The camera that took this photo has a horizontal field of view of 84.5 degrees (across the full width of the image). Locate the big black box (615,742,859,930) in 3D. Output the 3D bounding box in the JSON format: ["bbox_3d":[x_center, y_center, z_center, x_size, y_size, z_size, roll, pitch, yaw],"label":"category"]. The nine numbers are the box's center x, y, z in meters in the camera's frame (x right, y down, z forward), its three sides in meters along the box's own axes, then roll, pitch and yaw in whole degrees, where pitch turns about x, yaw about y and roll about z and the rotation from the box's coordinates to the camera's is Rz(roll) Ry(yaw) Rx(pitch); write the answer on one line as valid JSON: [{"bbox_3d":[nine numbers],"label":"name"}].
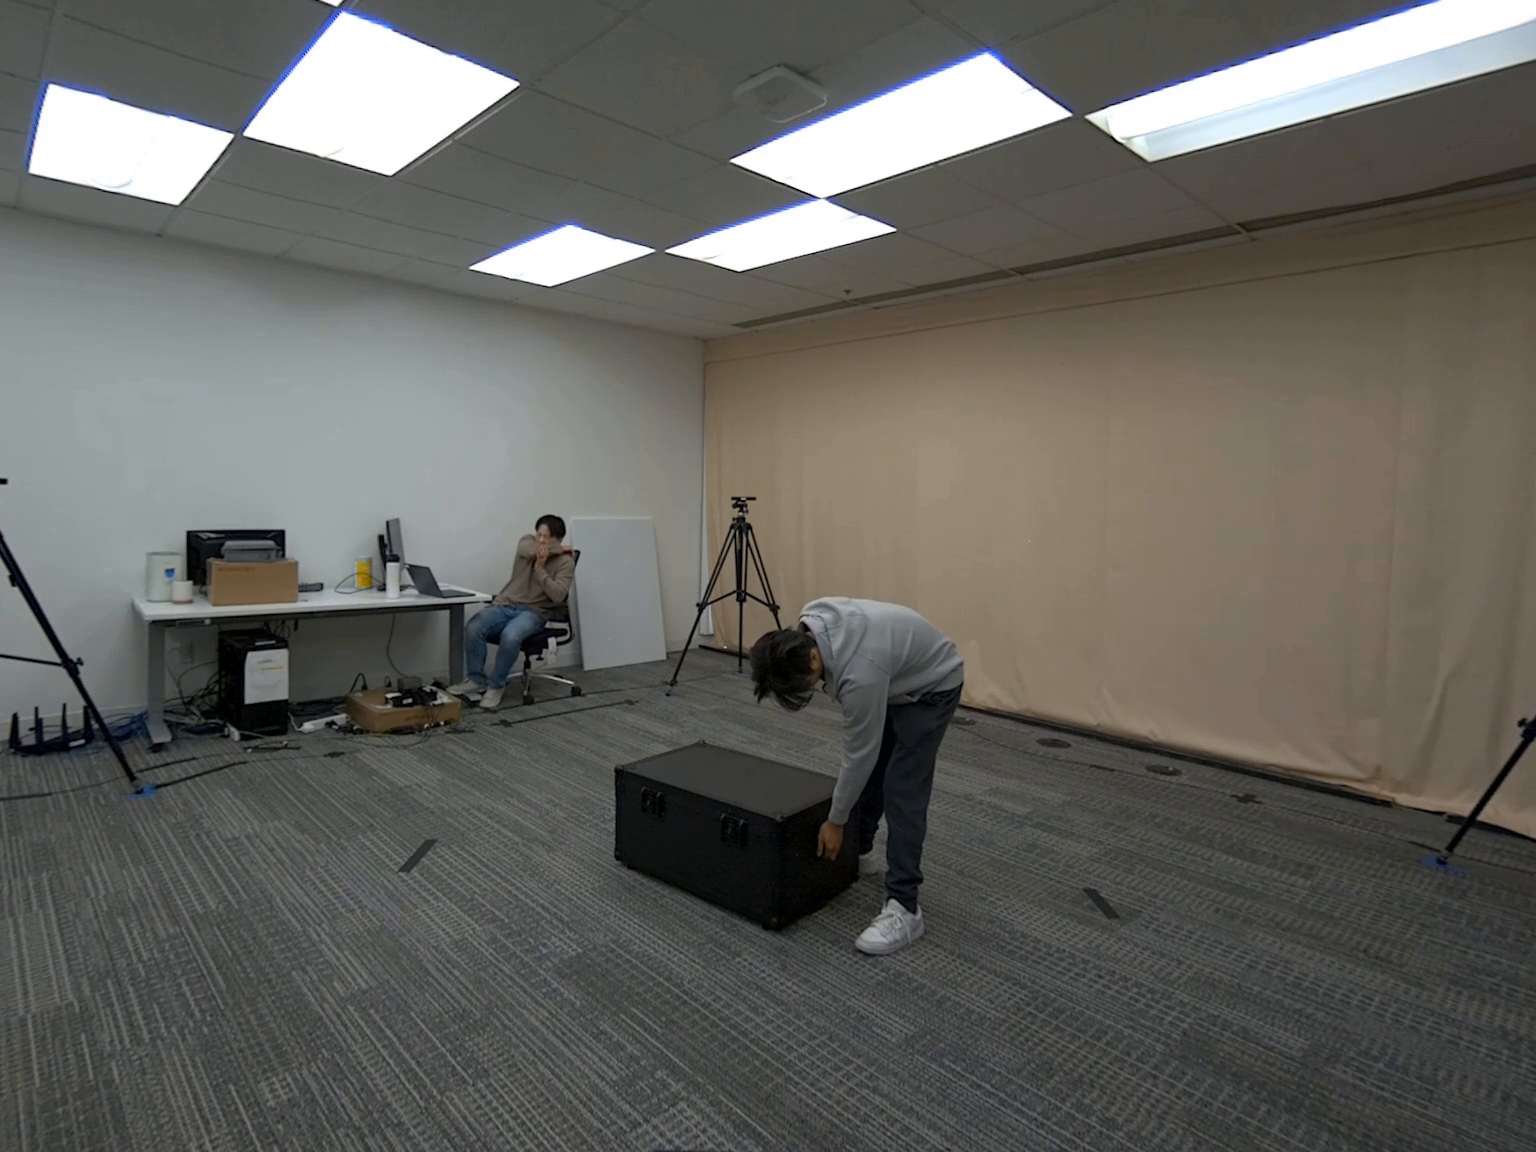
[{"bbox_3d":[-0.152,0.917,3.121,0.883,0.395,0.510,6,6,39],"label":"big black box"}]
